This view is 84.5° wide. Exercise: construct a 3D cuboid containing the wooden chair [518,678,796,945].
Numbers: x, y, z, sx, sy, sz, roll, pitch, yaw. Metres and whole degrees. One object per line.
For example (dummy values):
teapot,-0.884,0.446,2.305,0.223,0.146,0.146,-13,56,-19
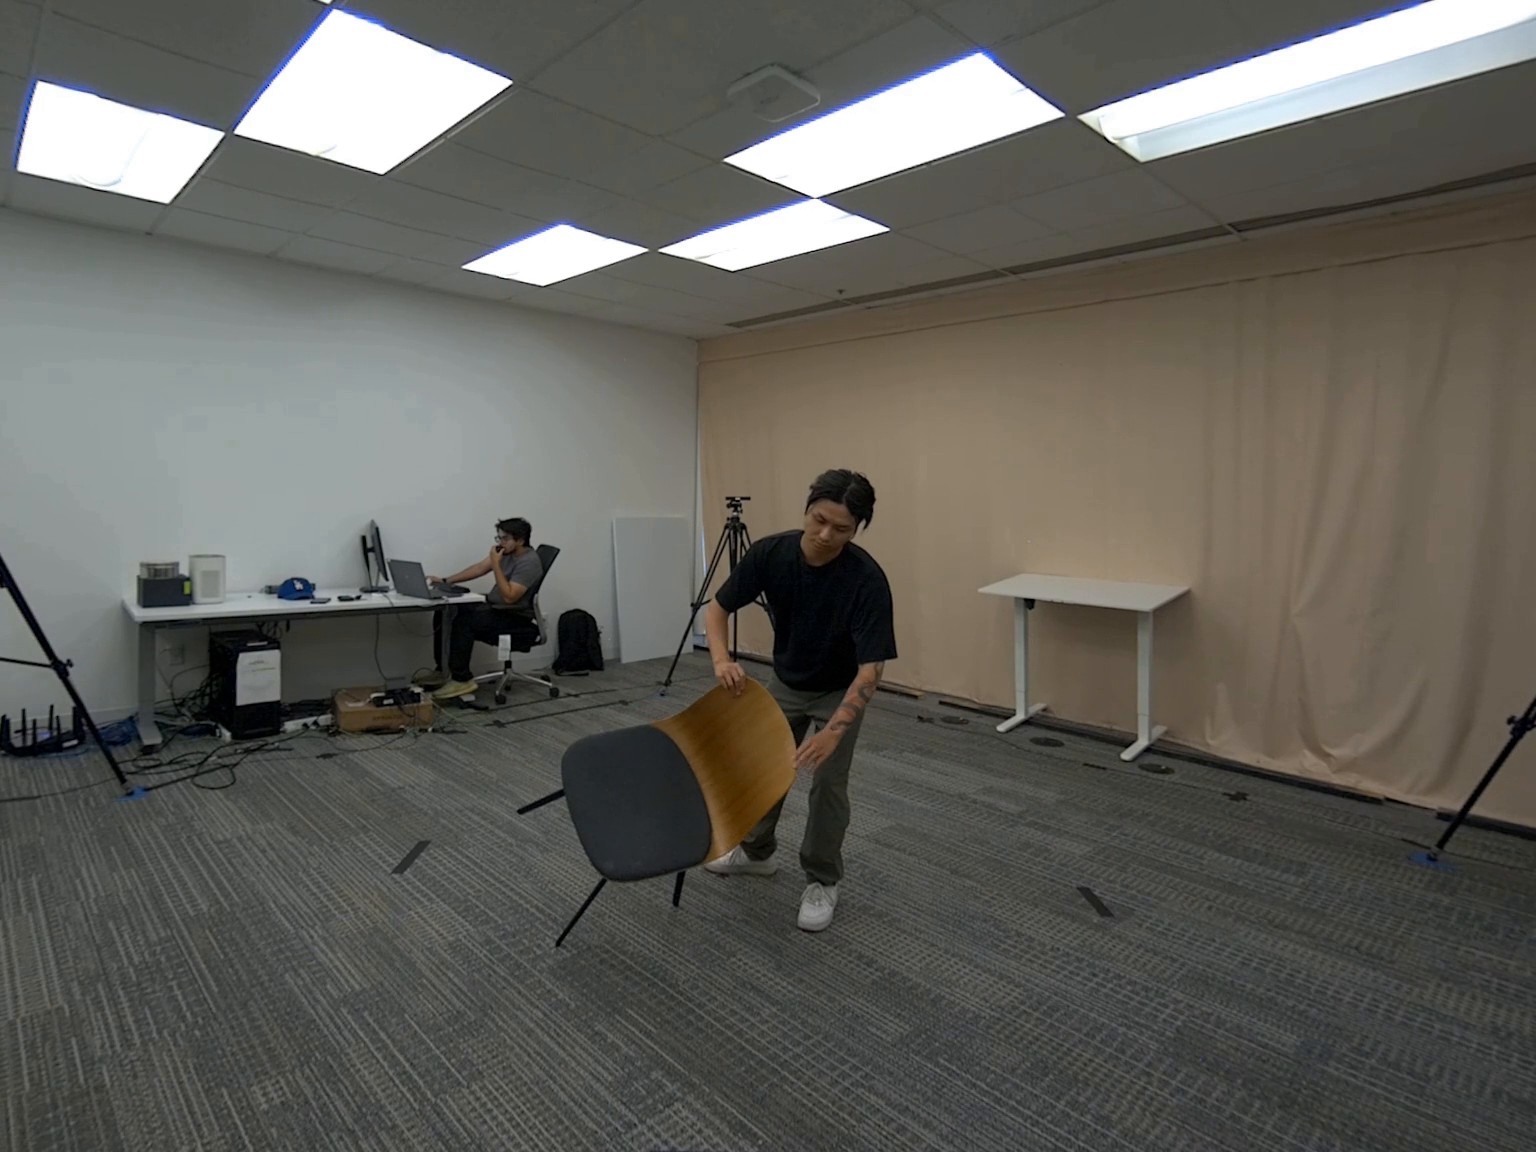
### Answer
wooden chair,-0.371,0.701,2.571,0.510,0.490,0.876,3,-40,-43
